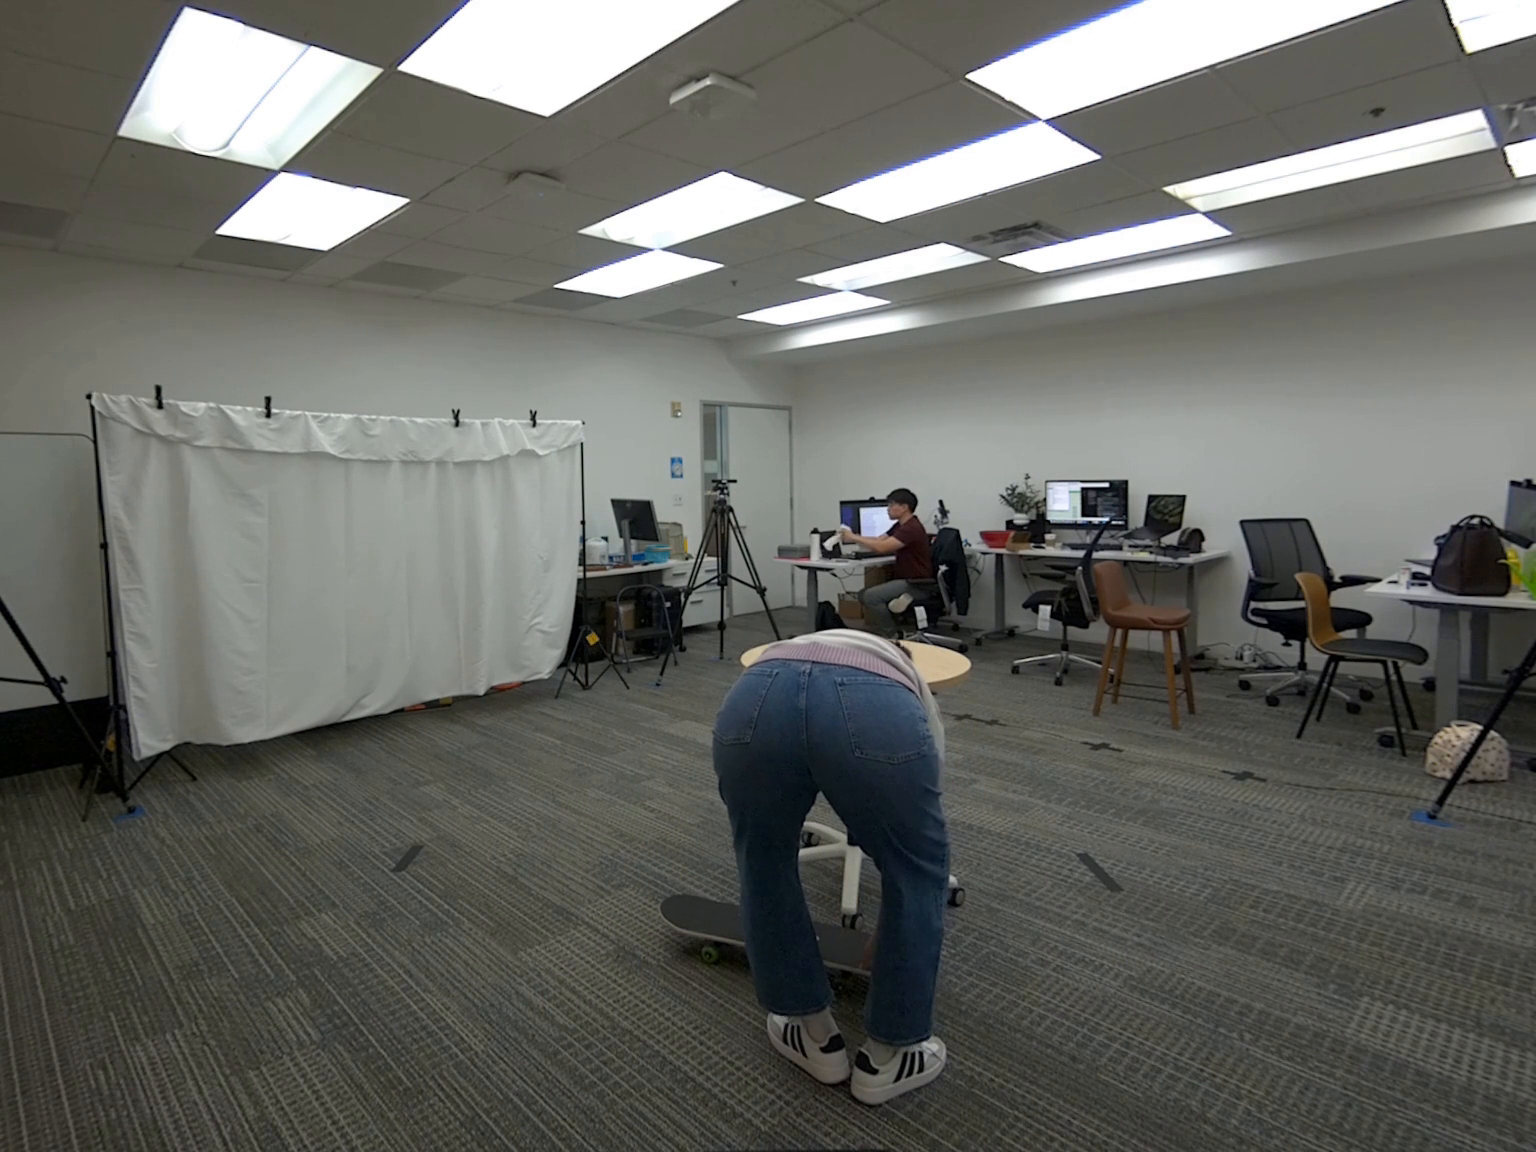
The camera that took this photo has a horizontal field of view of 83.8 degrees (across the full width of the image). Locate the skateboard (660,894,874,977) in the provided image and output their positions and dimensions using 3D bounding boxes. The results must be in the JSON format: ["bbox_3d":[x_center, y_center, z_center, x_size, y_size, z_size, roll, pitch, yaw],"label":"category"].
[{"bbox_3d":[0.049,1.064,2.473,0.802,0.110,0.190,3,6,23],"label":"skateboard"}]
